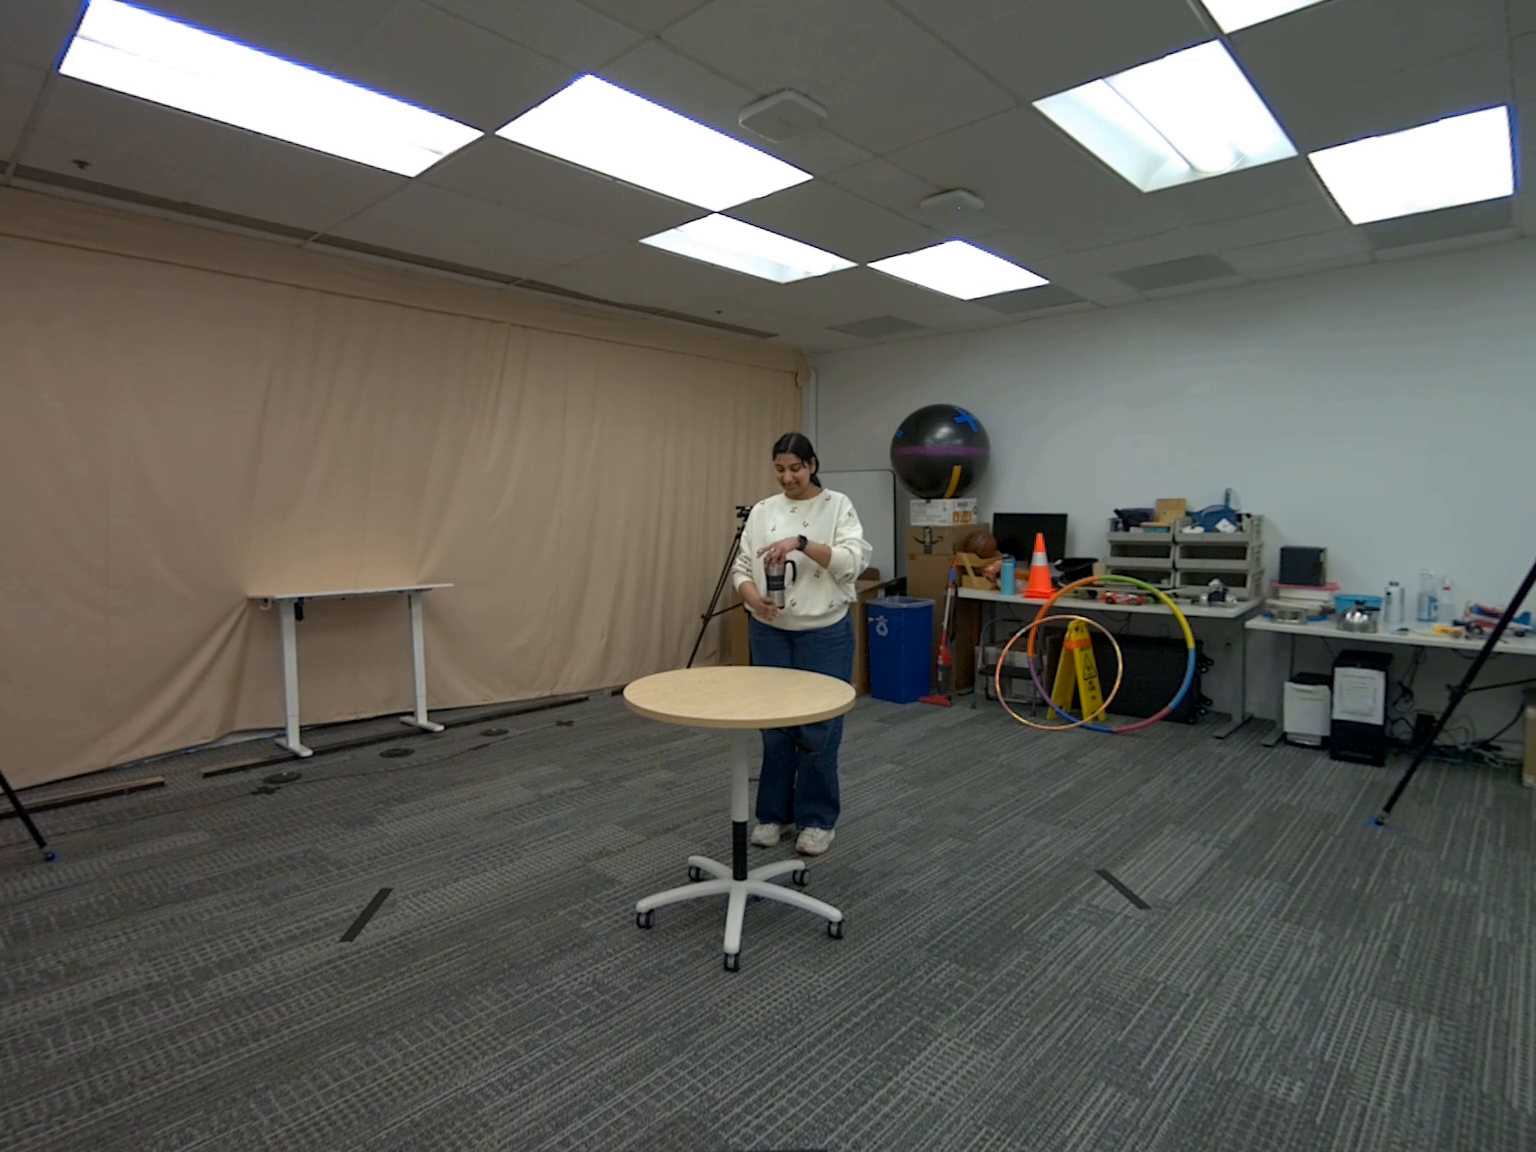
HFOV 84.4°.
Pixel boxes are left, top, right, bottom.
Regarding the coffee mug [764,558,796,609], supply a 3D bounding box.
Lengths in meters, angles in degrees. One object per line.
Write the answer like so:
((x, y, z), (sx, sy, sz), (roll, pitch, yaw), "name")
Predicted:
((0.046, 0.024, 3.211), (0.124, 0.202, 0.086), (-3, 6, 19), "coffee mug")
